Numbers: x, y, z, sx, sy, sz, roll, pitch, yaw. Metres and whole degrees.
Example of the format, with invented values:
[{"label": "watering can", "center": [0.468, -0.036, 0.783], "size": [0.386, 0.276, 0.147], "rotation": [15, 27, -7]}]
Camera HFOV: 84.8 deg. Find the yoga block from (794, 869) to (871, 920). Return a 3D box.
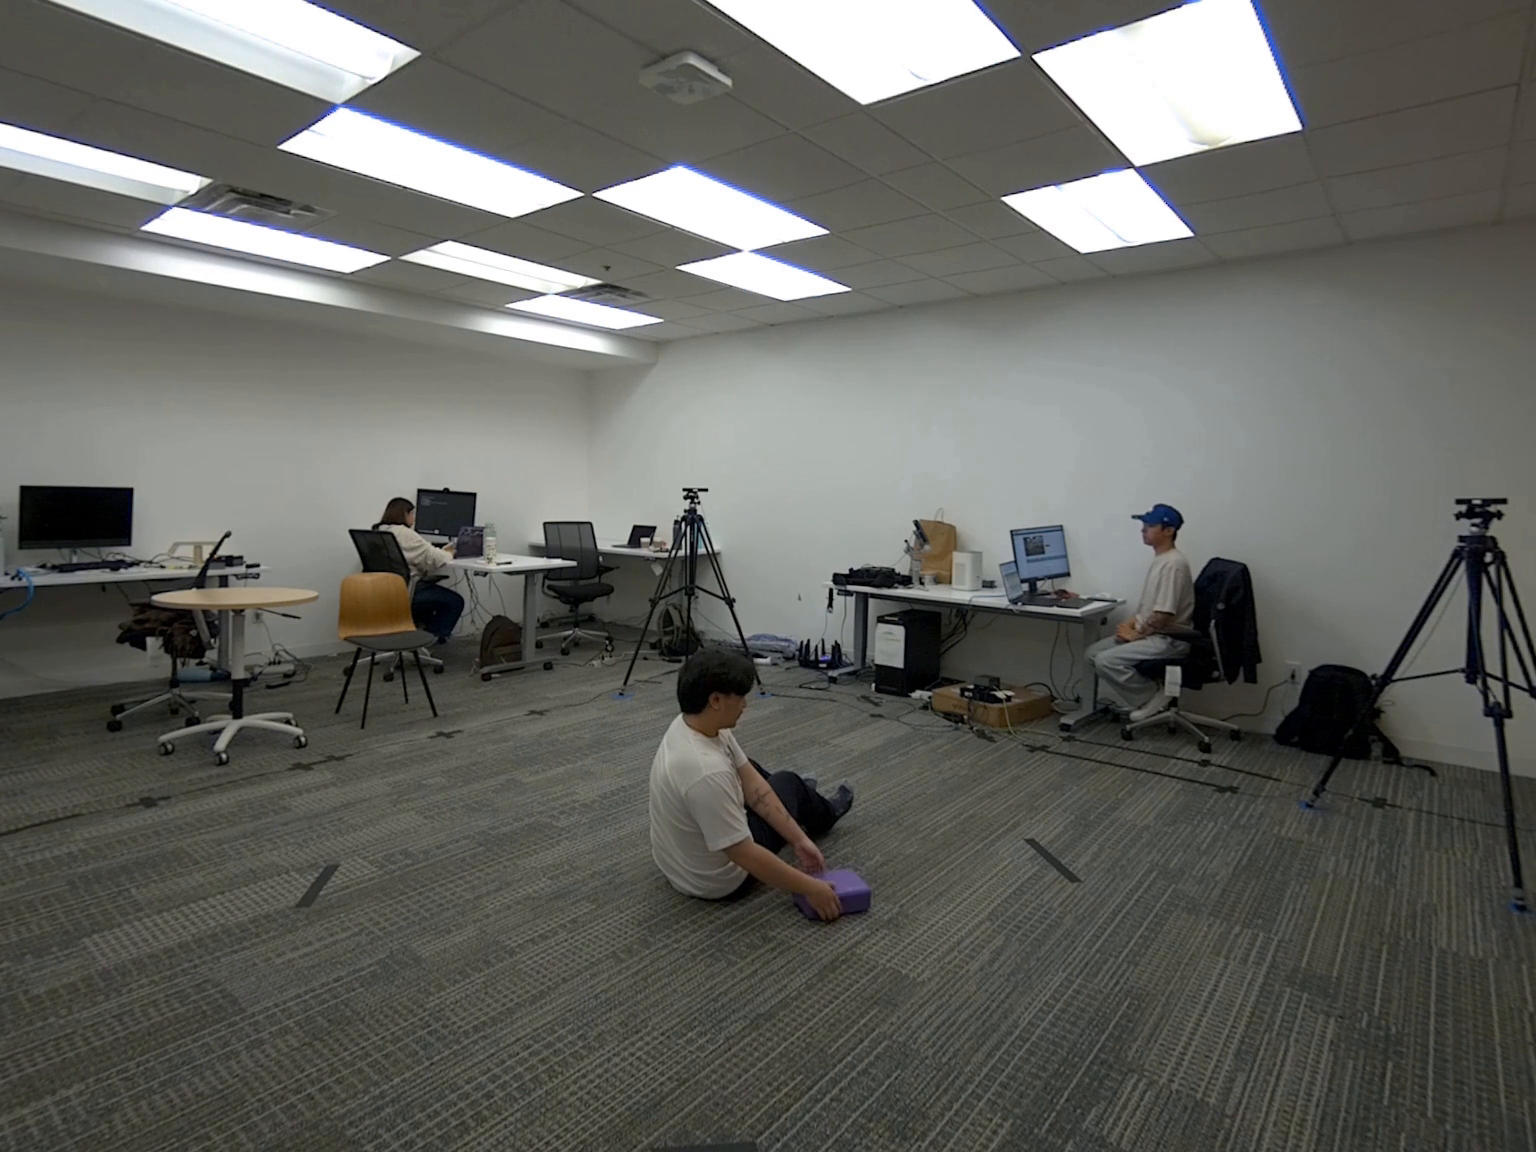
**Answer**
[{"label": "yoga block", "center": [0.206, 1.050, 2.832], "size": [0.224, 0.076, 0.153], "rotation": [1, 10, -21]}]
